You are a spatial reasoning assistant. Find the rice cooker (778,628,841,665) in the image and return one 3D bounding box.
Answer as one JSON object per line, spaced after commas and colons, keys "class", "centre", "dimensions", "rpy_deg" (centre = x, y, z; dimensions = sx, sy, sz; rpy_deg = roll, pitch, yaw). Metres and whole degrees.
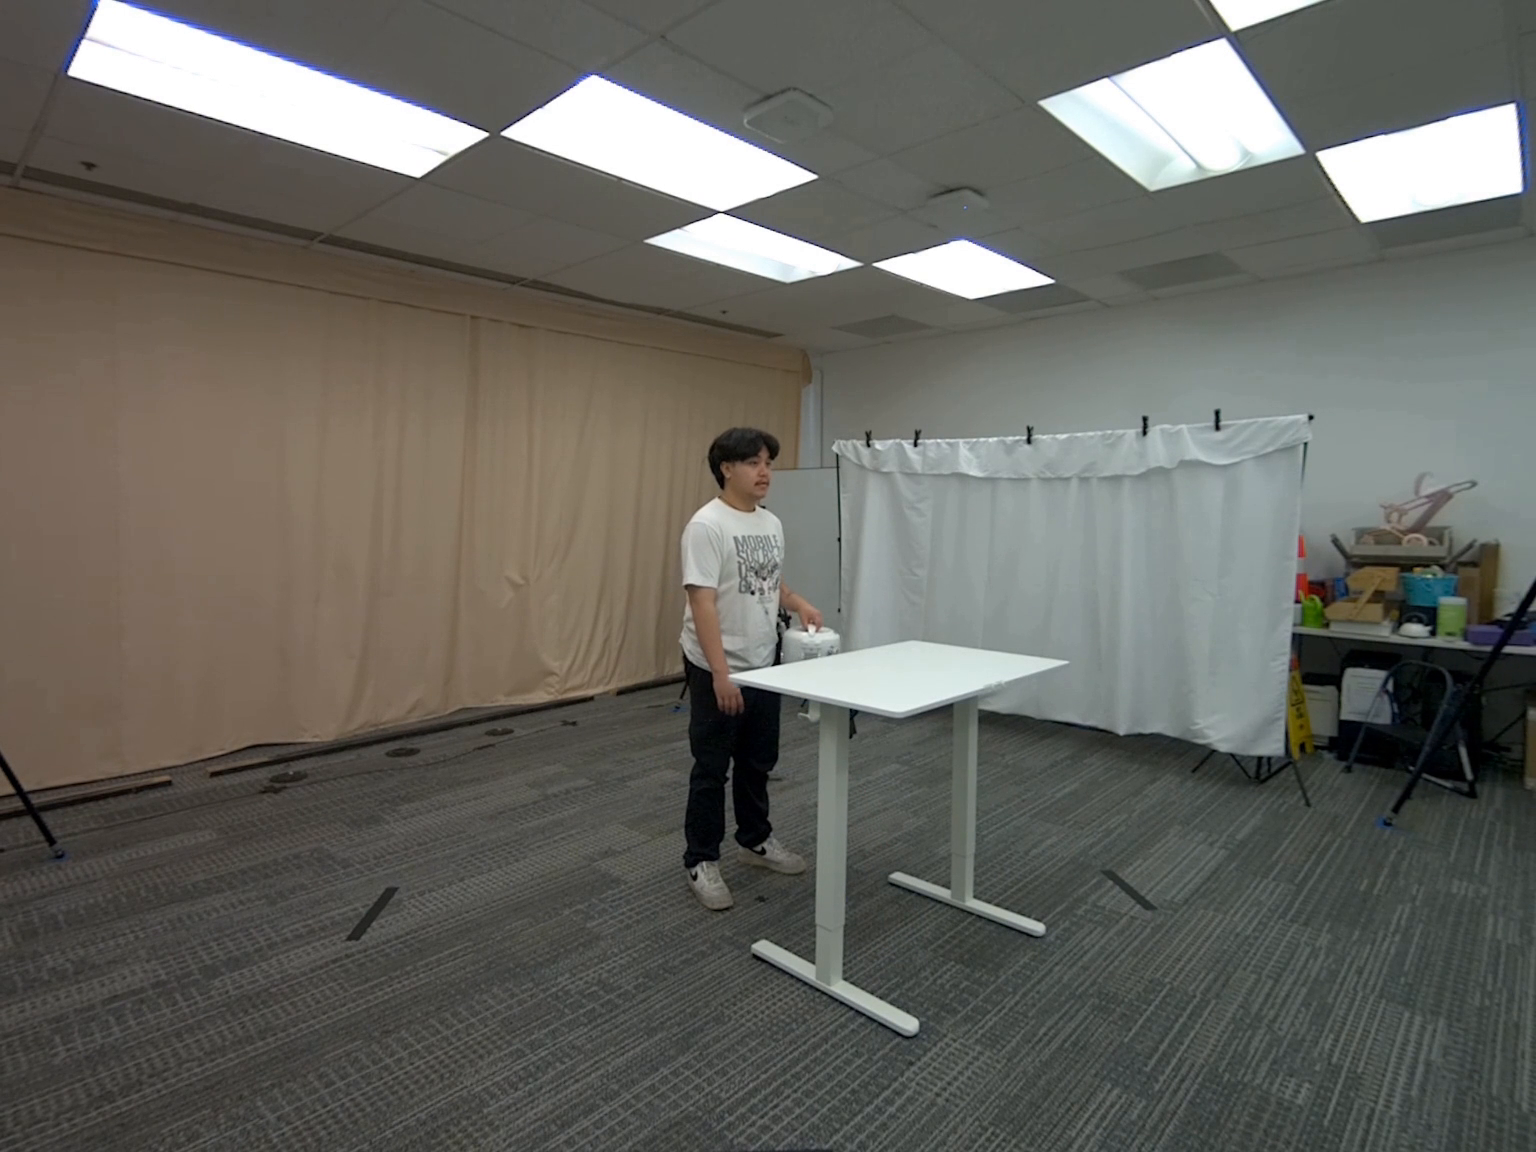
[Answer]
{"class": "rice cooker", "centre": [0.158, 0.289, 3.101], "dimensions": [0.219, 0.232, 0.220], "rpy_deg": [3, 5, 5]}
